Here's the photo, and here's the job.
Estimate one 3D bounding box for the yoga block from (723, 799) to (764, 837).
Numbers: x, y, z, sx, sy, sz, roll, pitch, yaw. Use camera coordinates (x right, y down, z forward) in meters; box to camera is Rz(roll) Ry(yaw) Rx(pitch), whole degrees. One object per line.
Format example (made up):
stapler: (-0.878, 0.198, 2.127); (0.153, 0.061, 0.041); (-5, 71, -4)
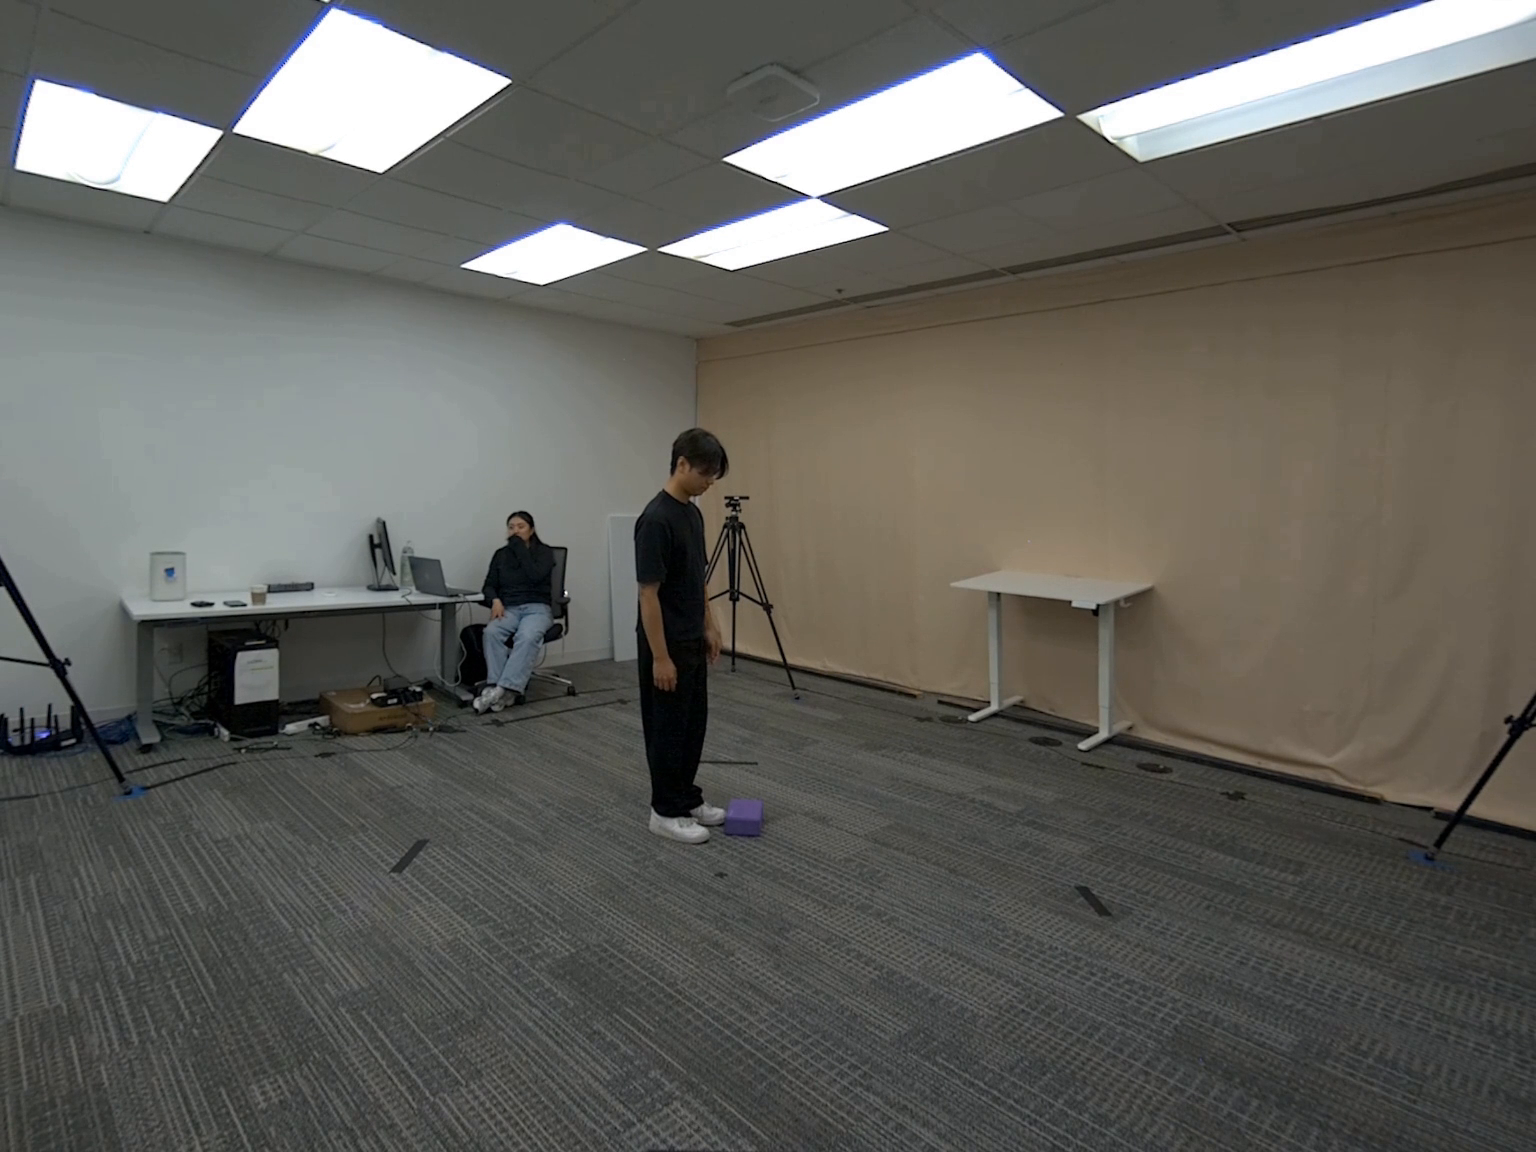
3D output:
yoga block: (-0.106, 1.023, 3.580); (0.150, 0.076, 0.229); (2, 6, 5)
